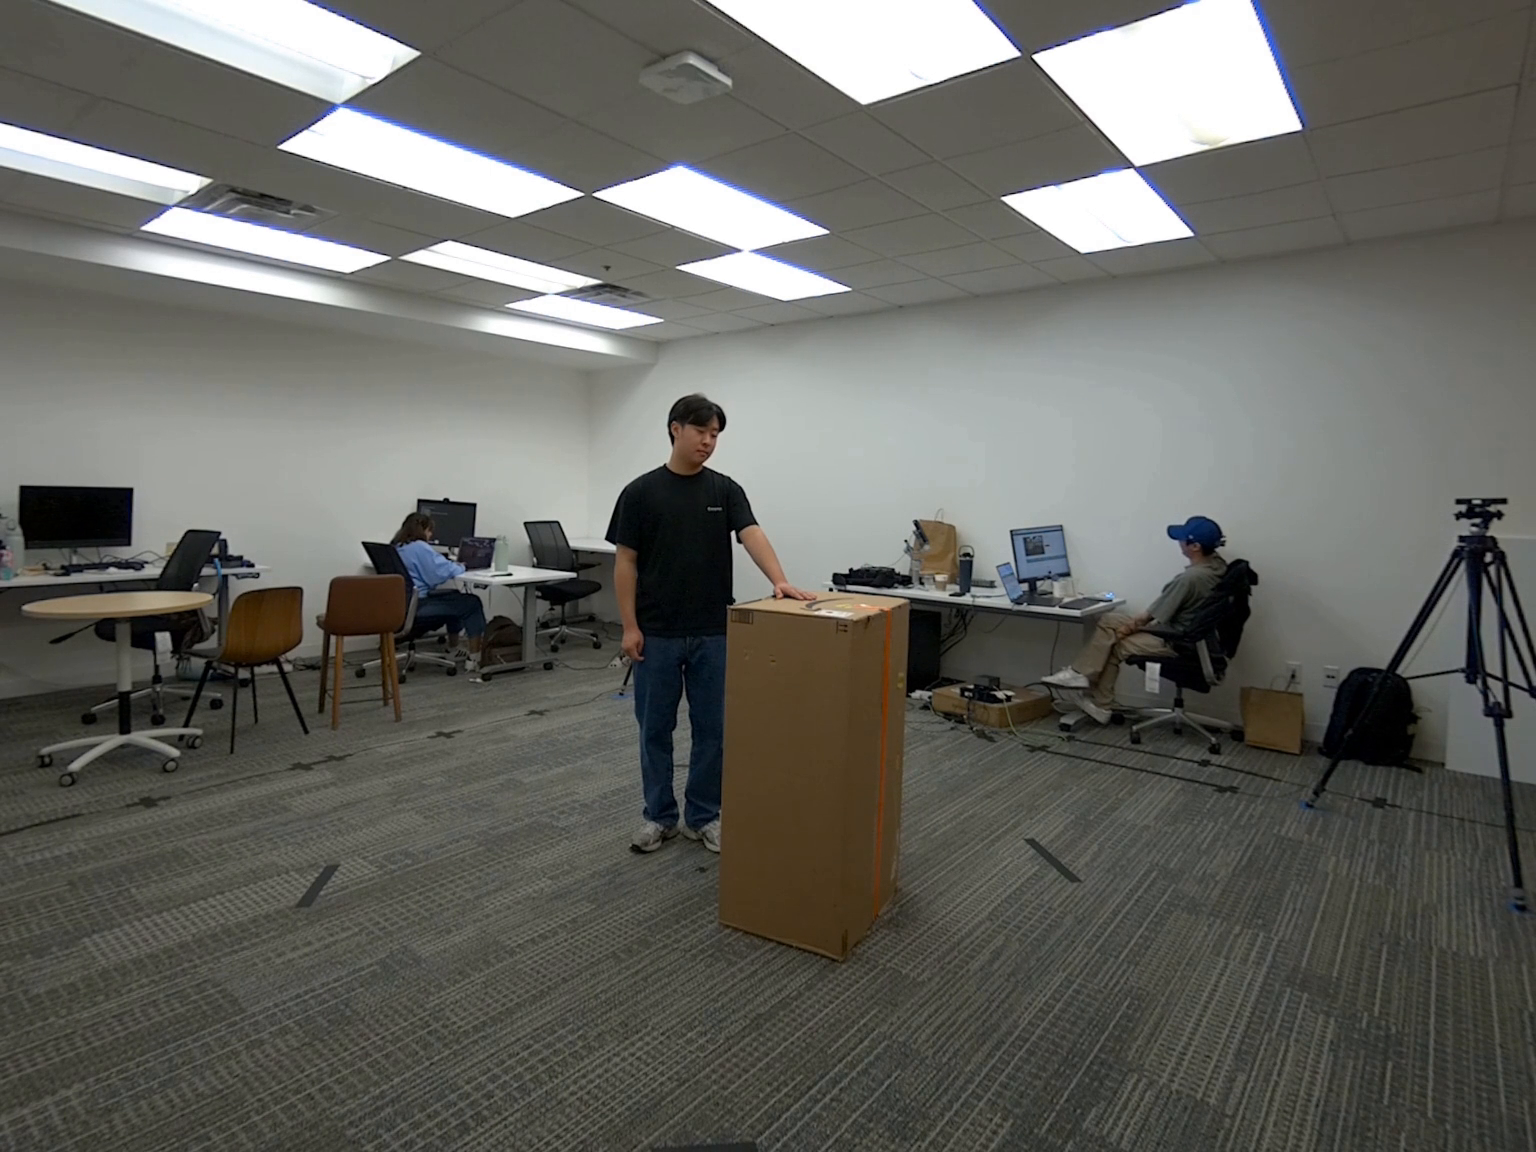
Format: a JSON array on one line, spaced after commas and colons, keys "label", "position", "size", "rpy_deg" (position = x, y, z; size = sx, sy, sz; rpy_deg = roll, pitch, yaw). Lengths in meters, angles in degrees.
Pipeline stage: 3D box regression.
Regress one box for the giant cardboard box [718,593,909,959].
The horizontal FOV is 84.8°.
[{"label": "giant cardboard box", "position": [0.163, 0.591, 2.836], "size": [0.460, 1.024, 0.569], "rpy_deg": [4, 4, 28]}]
